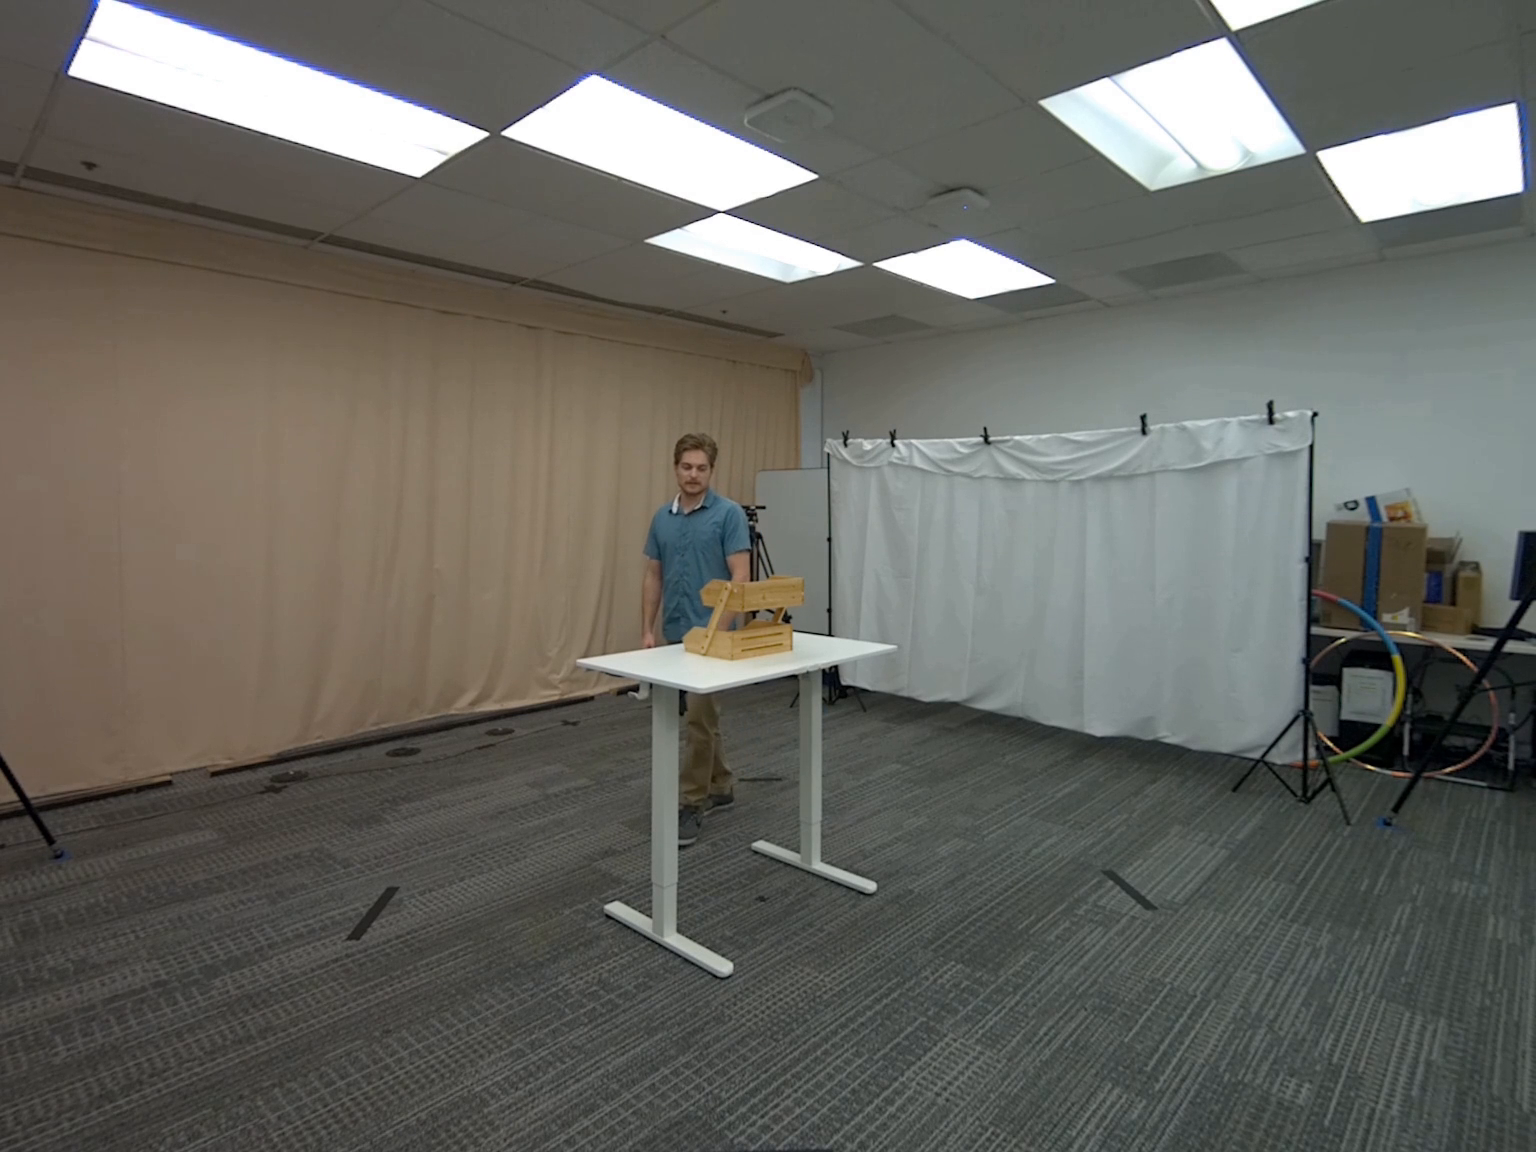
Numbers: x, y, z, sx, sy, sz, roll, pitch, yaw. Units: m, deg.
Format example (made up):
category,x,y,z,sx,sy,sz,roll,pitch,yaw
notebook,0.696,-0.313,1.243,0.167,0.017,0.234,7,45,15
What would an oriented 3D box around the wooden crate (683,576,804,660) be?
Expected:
category,x,y,z,sx,sy,sz,roll,pitch,yaw
wooden crate,-0.082,0.134,2.934,0.312,0.272,0.314,6,7,45
